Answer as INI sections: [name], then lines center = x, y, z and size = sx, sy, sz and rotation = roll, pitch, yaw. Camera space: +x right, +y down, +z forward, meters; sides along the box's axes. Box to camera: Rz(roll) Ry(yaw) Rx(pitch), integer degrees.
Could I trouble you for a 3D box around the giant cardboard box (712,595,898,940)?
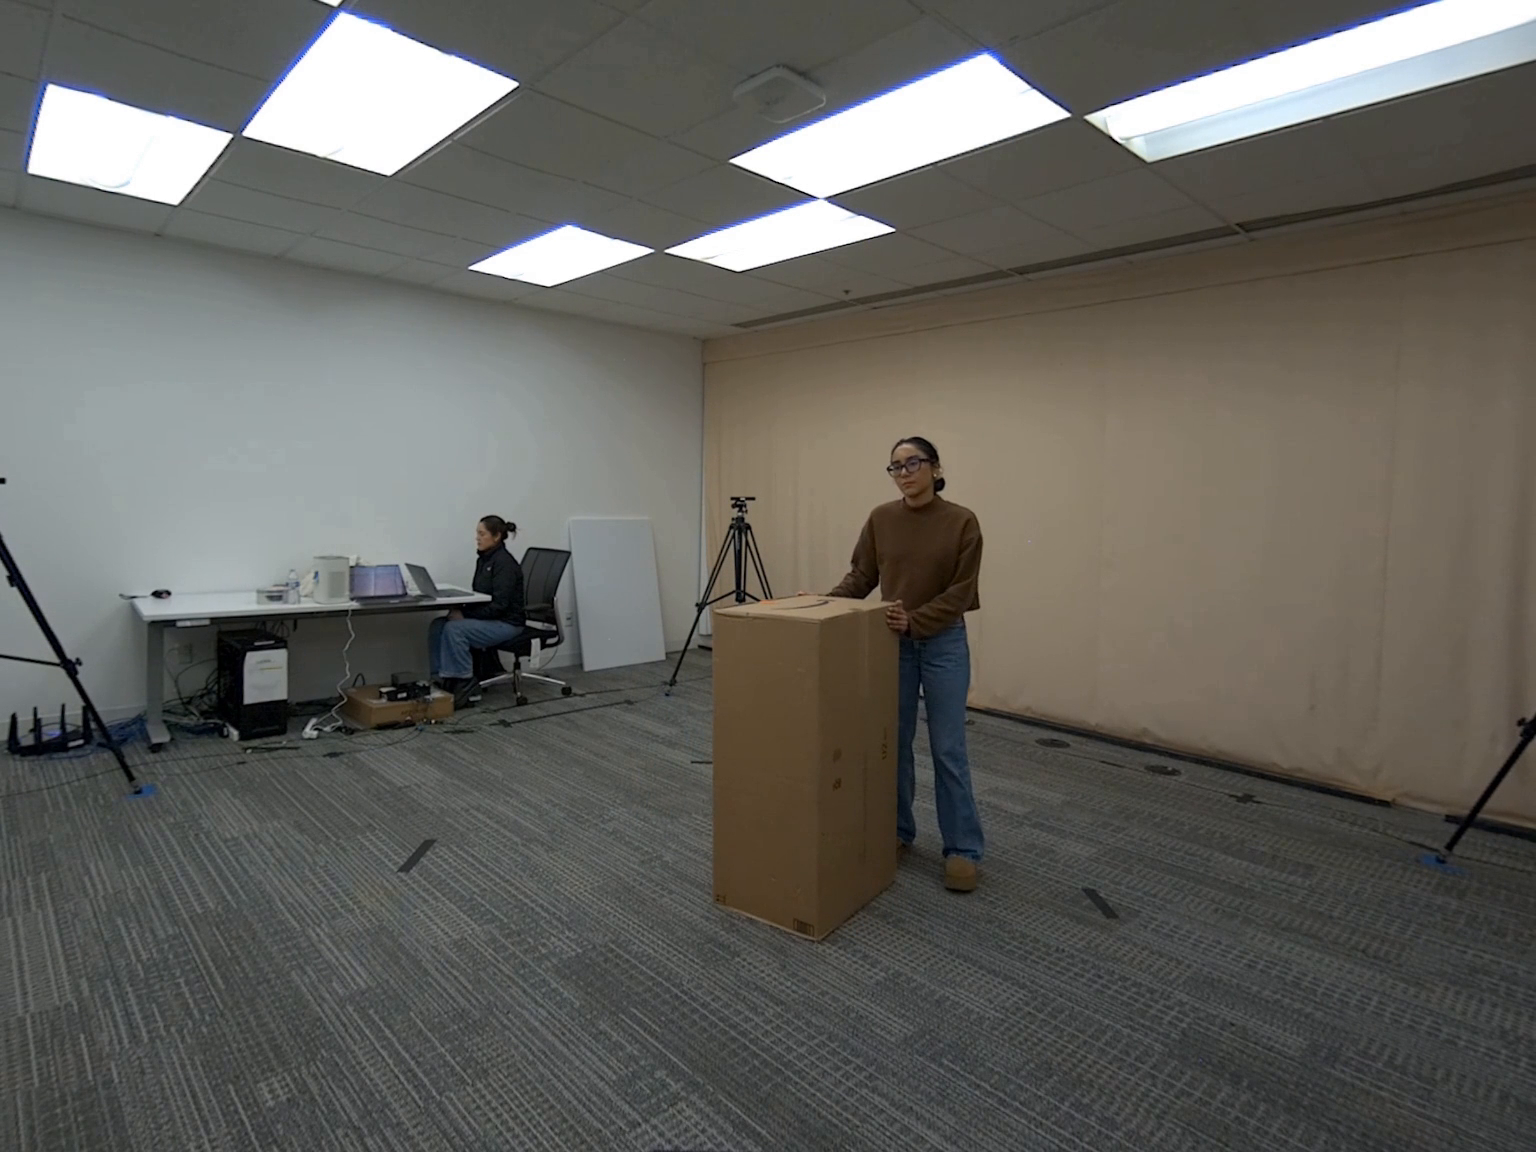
[giant cardboard box]
center = 0.133, 0.617, 2.959
size = 0.436, 1.023, 0.565
rotation = 2, 4, 36
